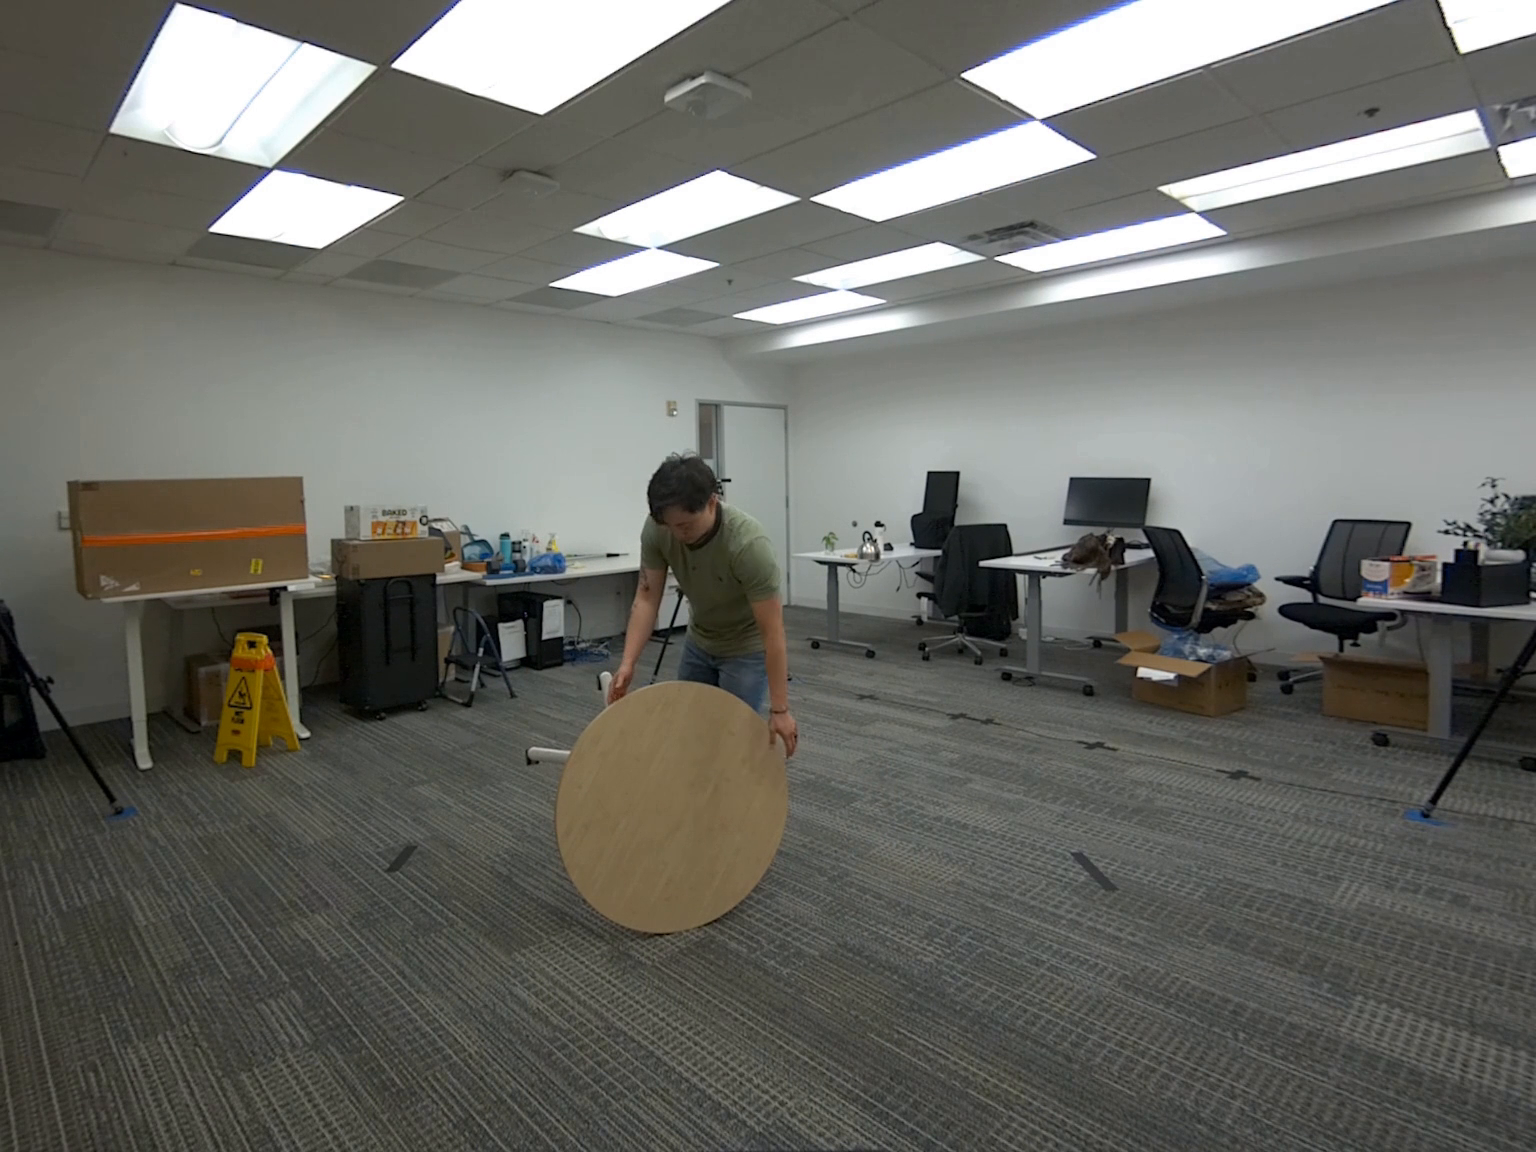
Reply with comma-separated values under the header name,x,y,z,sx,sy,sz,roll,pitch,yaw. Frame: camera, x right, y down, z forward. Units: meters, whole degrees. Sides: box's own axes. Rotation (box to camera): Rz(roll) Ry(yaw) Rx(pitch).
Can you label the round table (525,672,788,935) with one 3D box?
name,x,y,z,sx,sy,sz,roll,pitch,yaw
round table,-0.451,0.729,3.036,0.749,0.766,0.808,-3,-2,-24
